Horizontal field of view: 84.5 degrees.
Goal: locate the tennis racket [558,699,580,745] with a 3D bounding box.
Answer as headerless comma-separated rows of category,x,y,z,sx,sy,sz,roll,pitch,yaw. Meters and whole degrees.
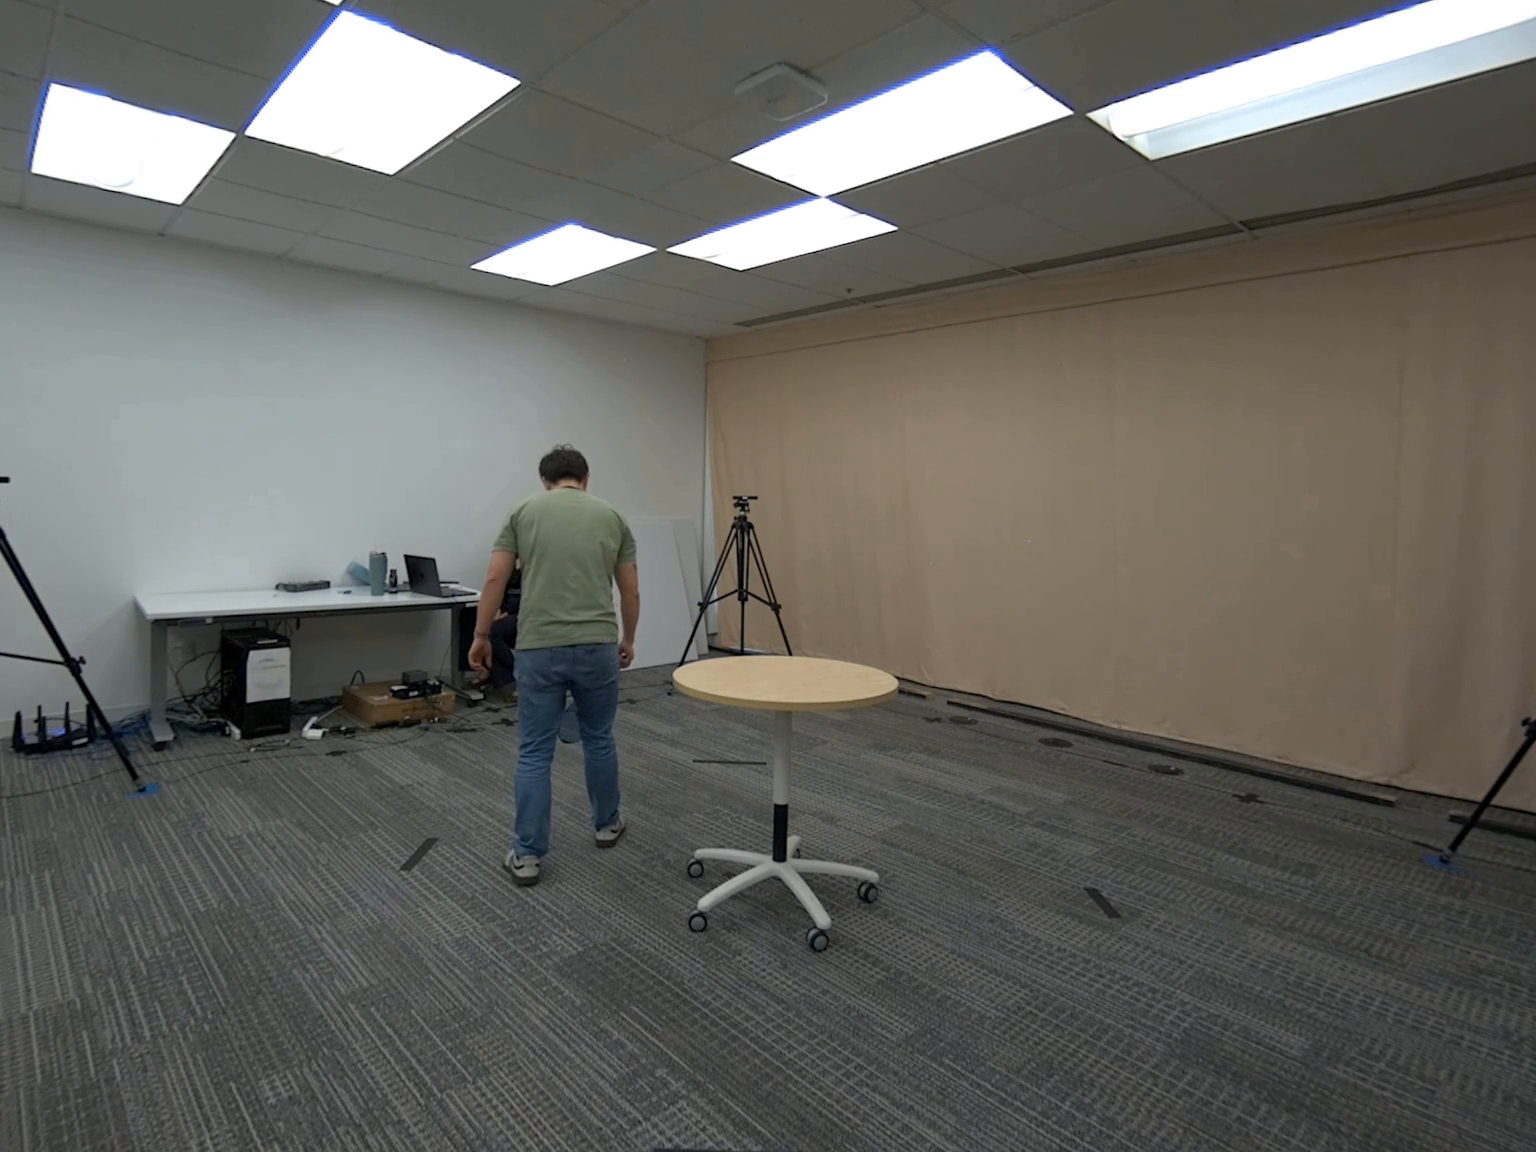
tennis racket,-0.715,0.522,3.515,0.033,0.433,0.207,27,-6,32
